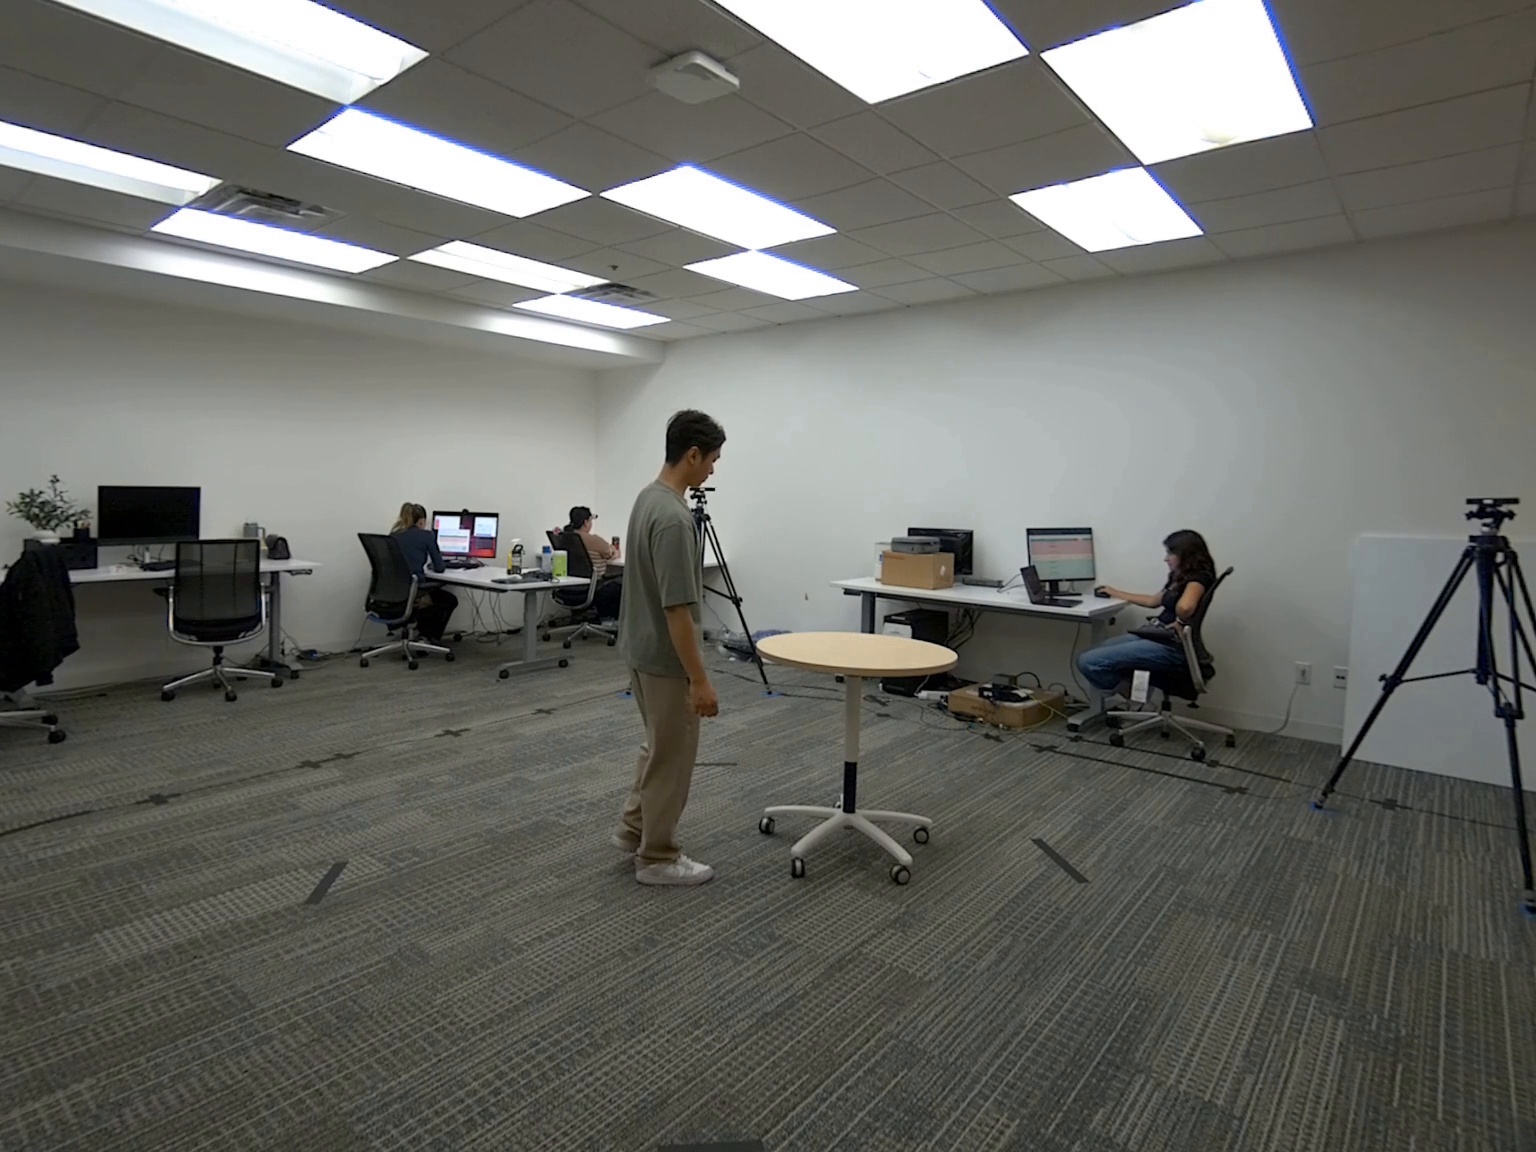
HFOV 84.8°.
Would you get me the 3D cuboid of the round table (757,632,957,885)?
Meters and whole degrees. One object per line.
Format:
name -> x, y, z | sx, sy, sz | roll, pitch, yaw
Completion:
round table -> 0.317, 0.667, 3.318 | 0.784, 0.784, 0.789 | 1, 4, -2
